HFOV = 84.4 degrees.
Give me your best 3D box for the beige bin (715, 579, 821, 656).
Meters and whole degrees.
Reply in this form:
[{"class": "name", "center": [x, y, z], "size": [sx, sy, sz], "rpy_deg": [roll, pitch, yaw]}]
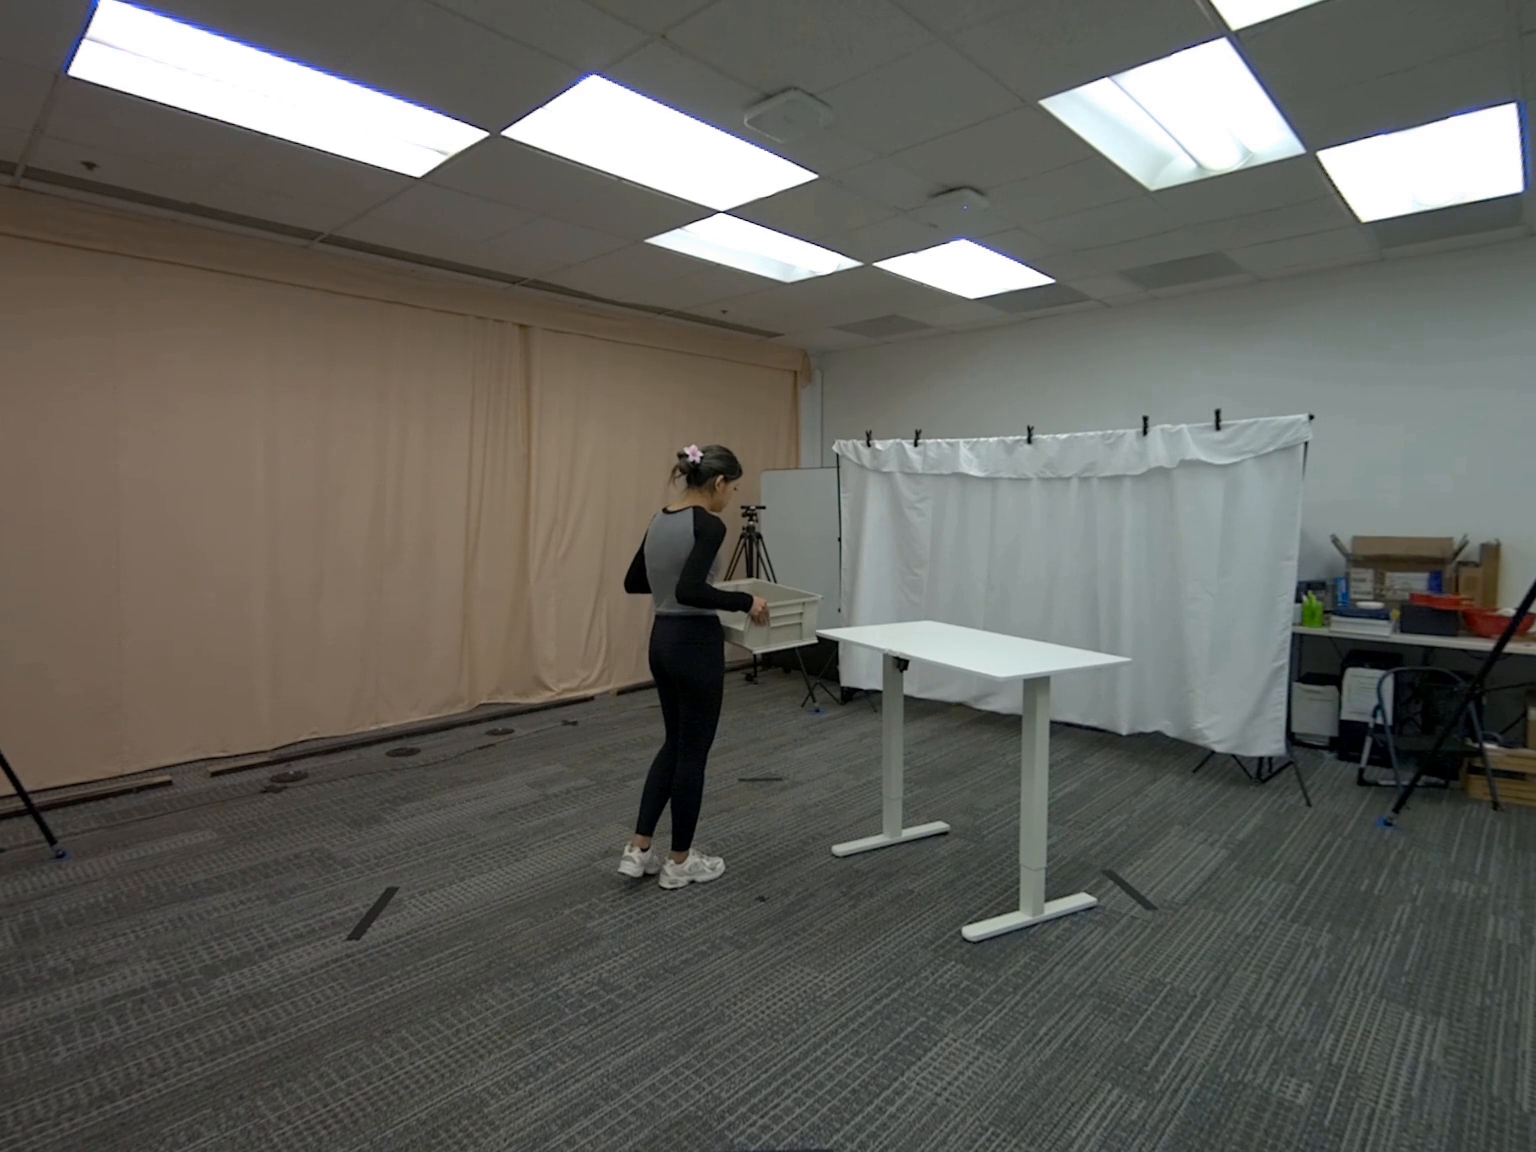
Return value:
[{"class": "beige bin", "center": [-0.072, 0.143, 3.246], "size": [0.366, 0.188, 0.436], "rpy_deg": [-4, 9, -37]}]
